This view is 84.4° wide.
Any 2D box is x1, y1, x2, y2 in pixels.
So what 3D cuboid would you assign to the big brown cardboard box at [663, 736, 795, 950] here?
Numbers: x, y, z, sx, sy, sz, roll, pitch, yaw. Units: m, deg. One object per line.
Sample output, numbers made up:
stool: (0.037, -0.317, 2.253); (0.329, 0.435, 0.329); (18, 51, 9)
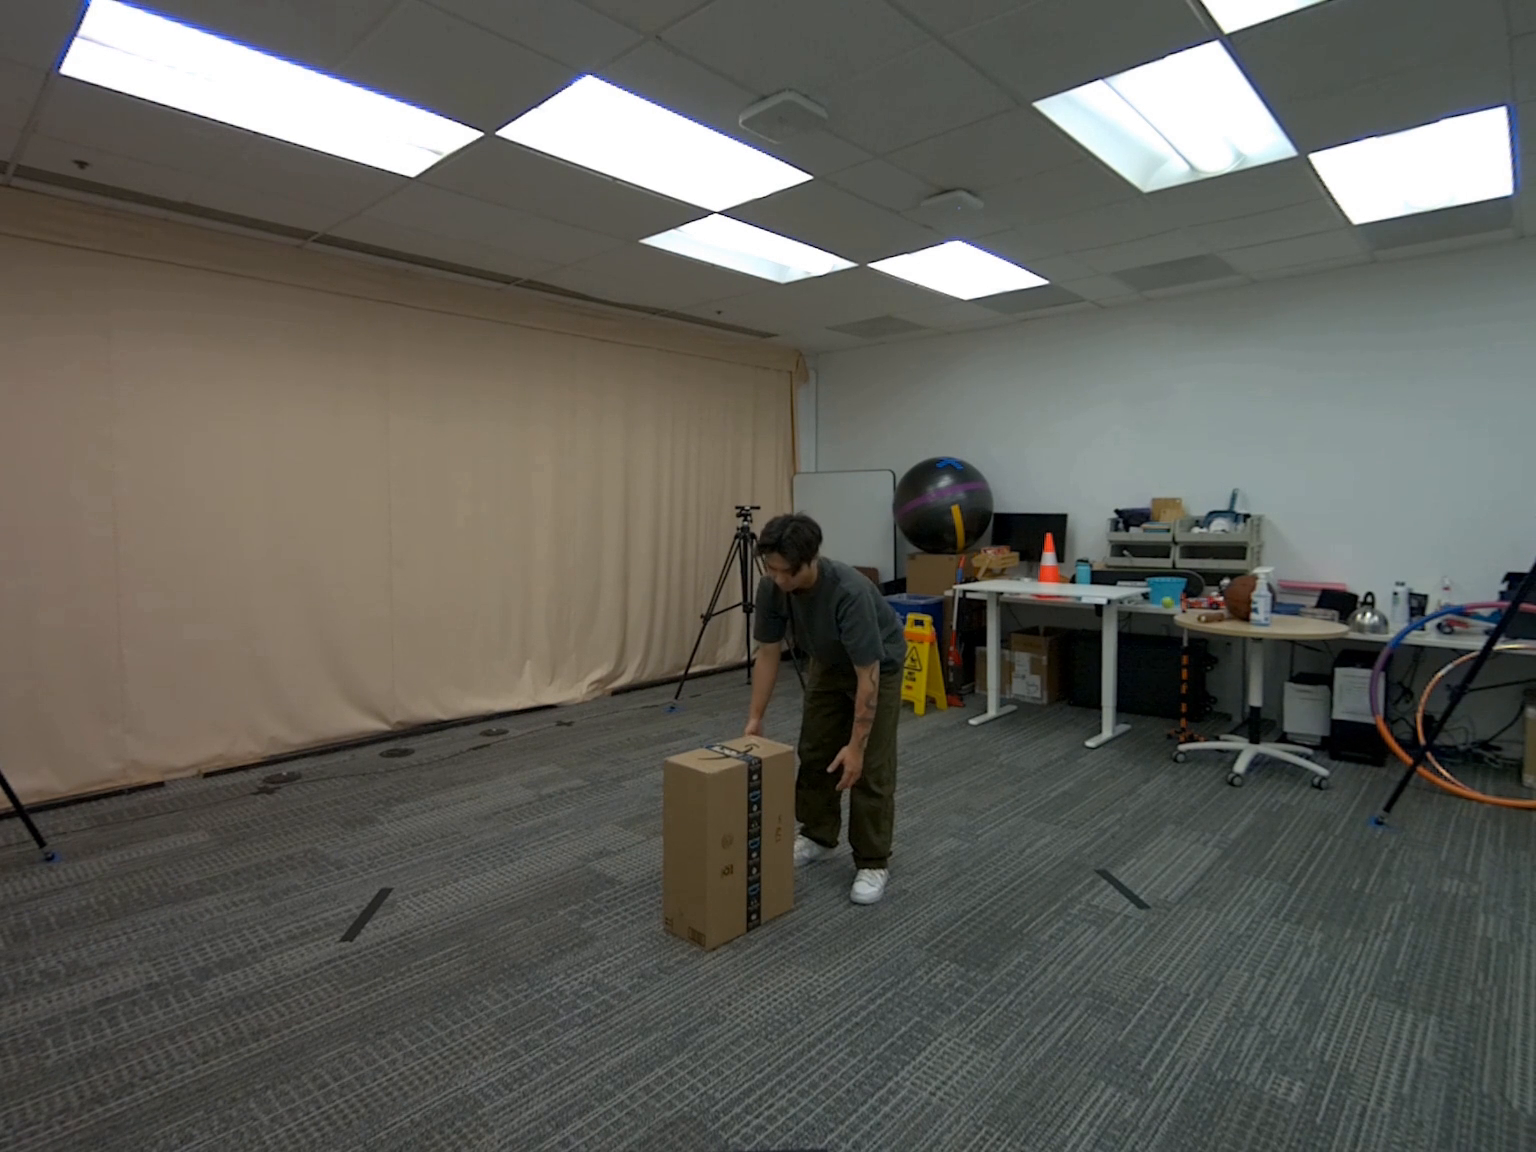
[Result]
big brown cardboard box: (-0.127, 0.871, 2.830); (0.241, 0.588, 0.404); (2, 2, 45)
